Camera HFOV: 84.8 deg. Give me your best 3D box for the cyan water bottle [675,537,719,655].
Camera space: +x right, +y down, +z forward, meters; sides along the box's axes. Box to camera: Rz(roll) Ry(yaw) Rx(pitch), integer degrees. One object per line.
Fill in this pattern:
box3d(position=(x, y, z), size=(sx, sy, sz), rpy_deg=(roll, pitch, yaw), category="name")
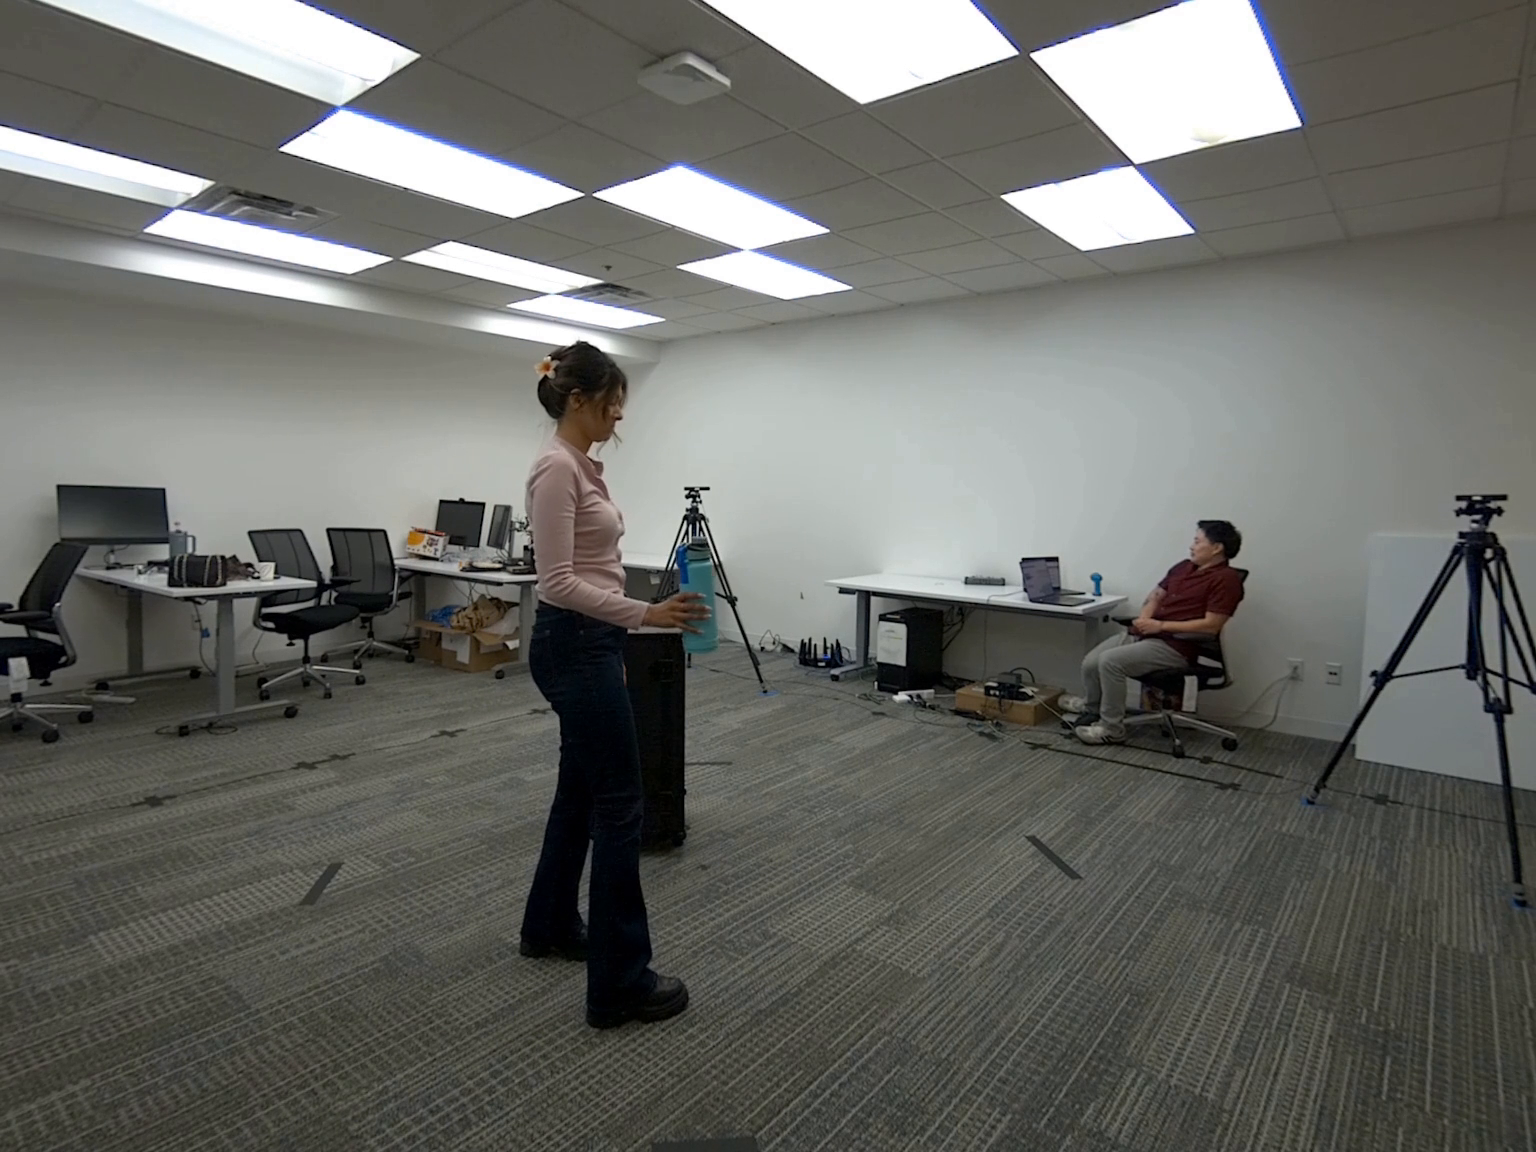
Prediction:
box3d(position=(-0.186, 0.047, 2.111), size=(0.092, 0.281, 0.093), rpy_deg=(-2, 7, -1), category="cyan water bottle")
